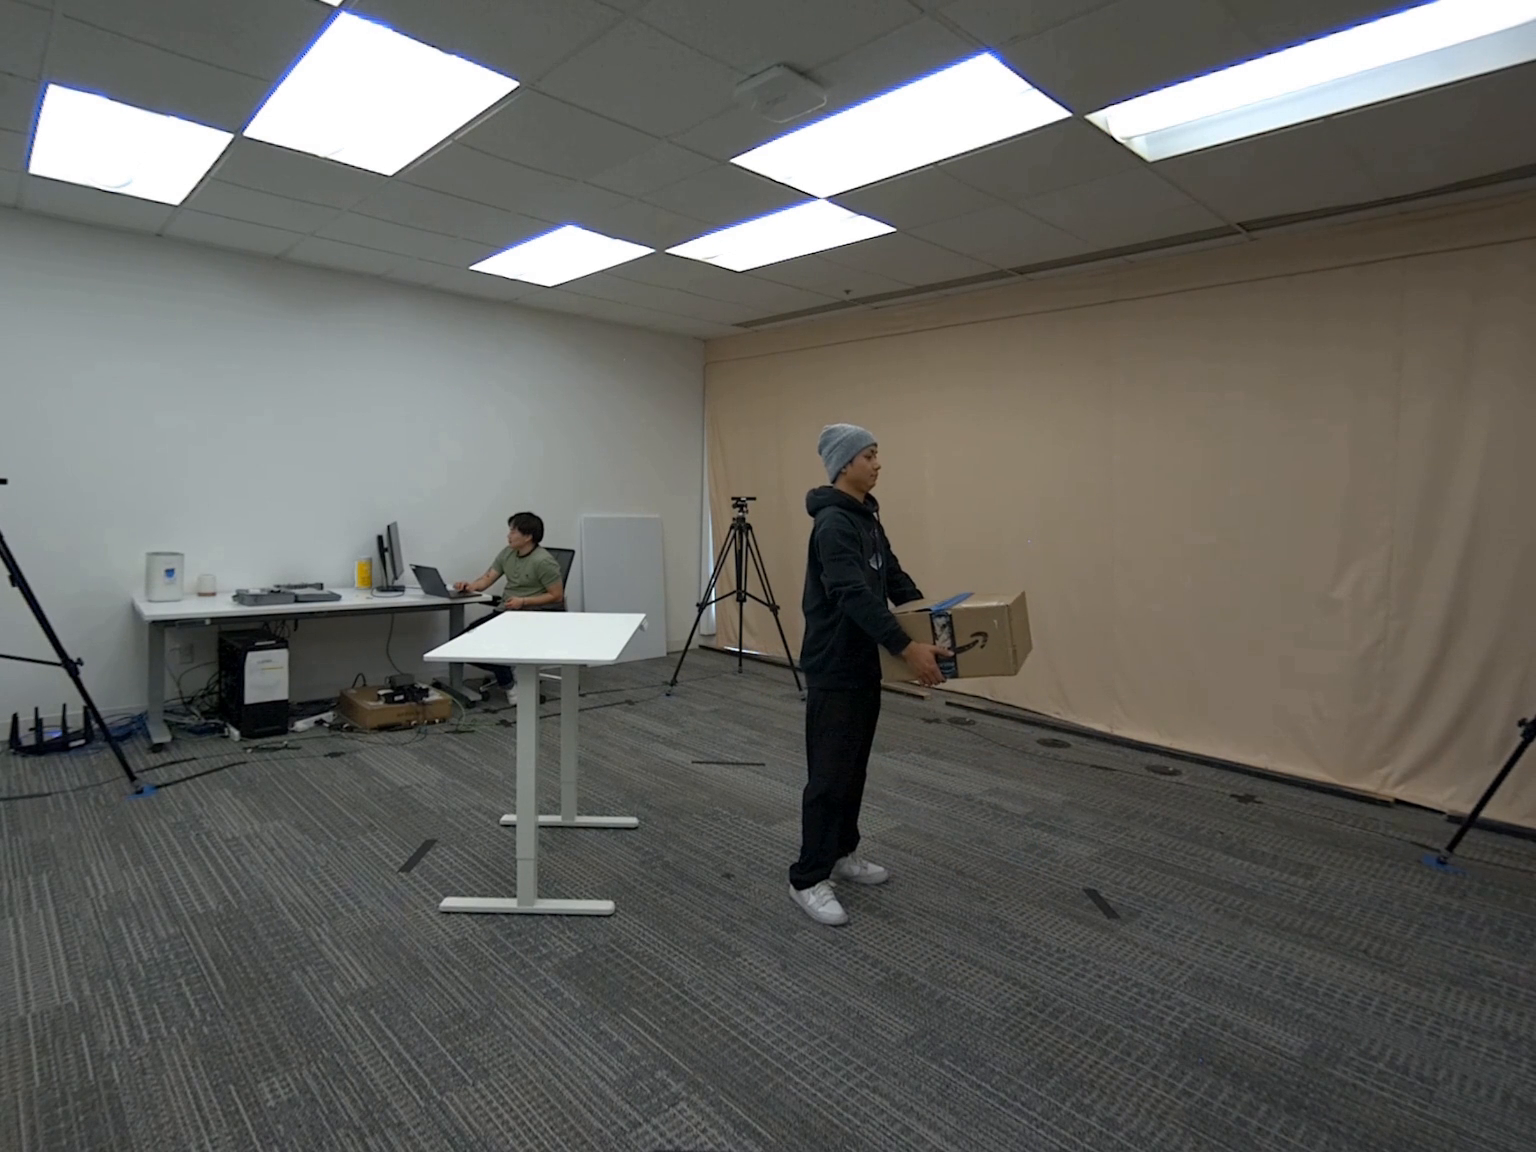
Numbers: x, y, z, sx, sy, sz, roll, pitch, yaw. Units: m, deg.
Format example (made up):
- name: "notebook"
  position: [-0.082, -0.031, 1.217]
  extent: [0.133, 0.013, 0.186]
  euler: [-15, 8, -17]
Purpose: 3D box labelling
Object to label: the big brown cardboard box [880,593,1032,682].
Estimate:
- name: "big brown cardboard box"
  position: [0.638, 0.193, 2.865]
  extent: [0.424, 0.233, 0.579]
  euler: [-6, 0, 23]
